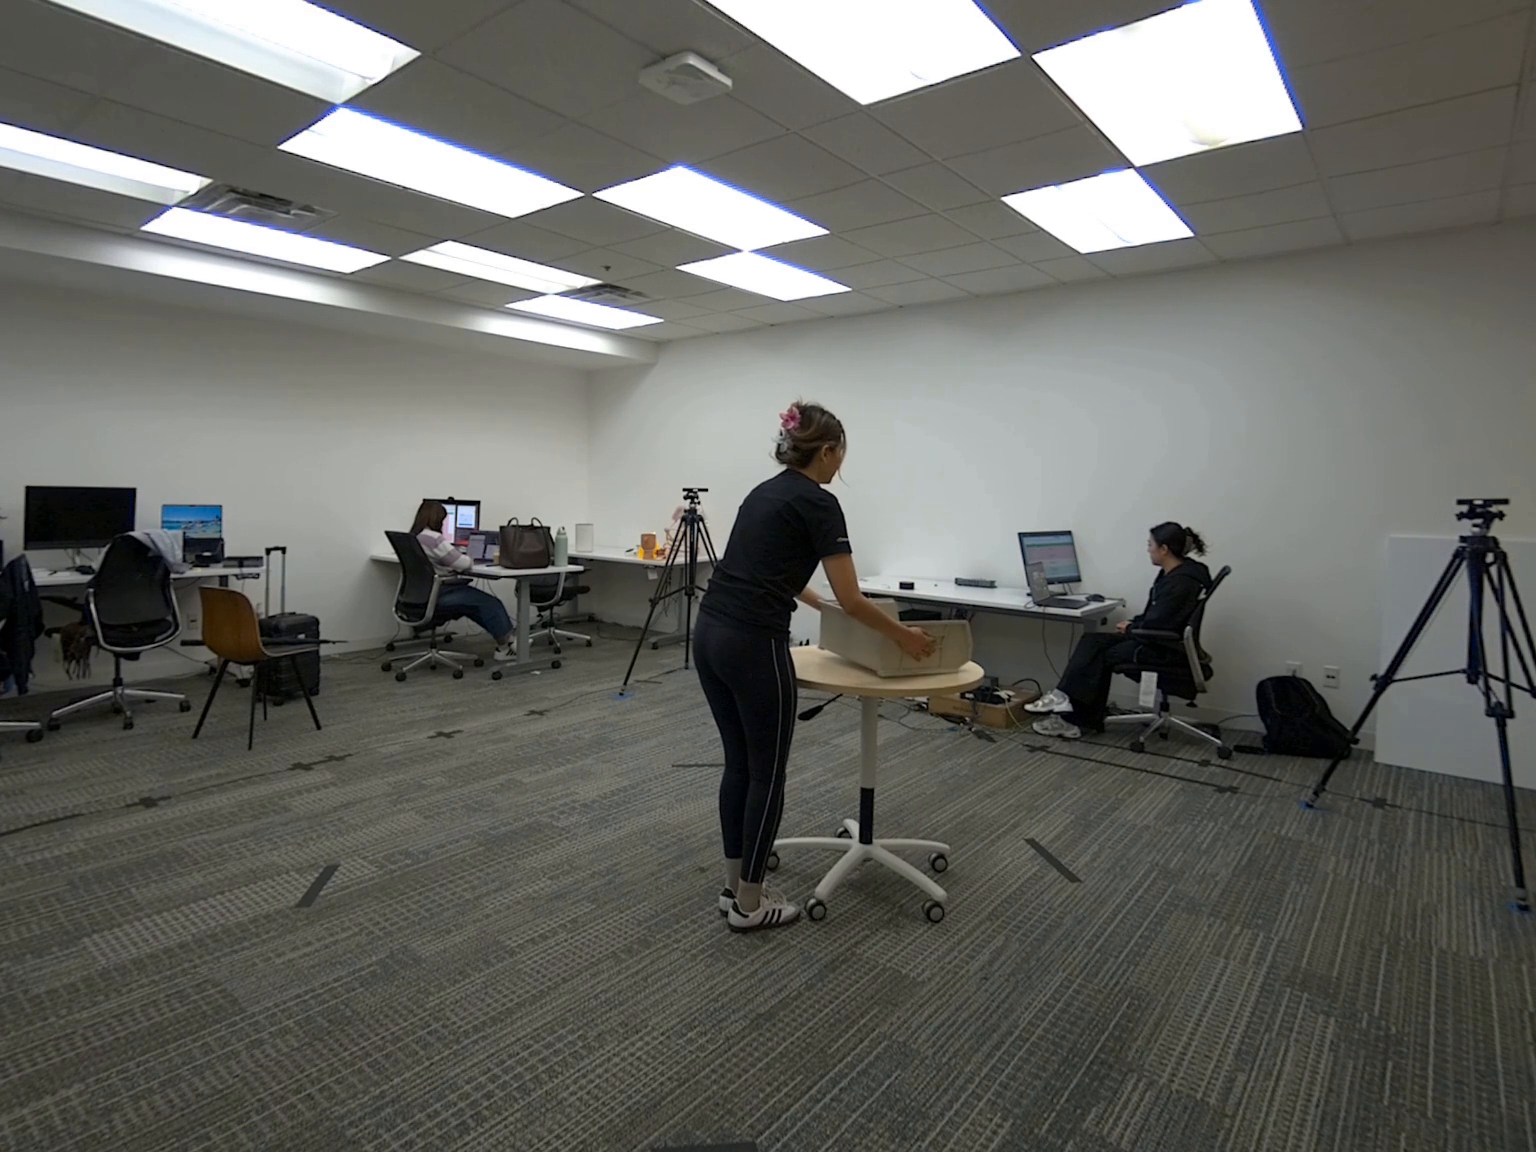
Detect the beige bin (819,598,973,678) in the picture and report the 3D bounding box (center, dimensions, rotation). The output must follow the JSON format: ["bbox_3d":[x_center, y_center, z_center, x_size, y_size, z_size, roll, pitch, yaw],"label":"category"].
[{"bbox_3d":[0.423,0.204,3.034,0.368,0.187,0.436,-1,10,-28],"label":"beige bin"}]
